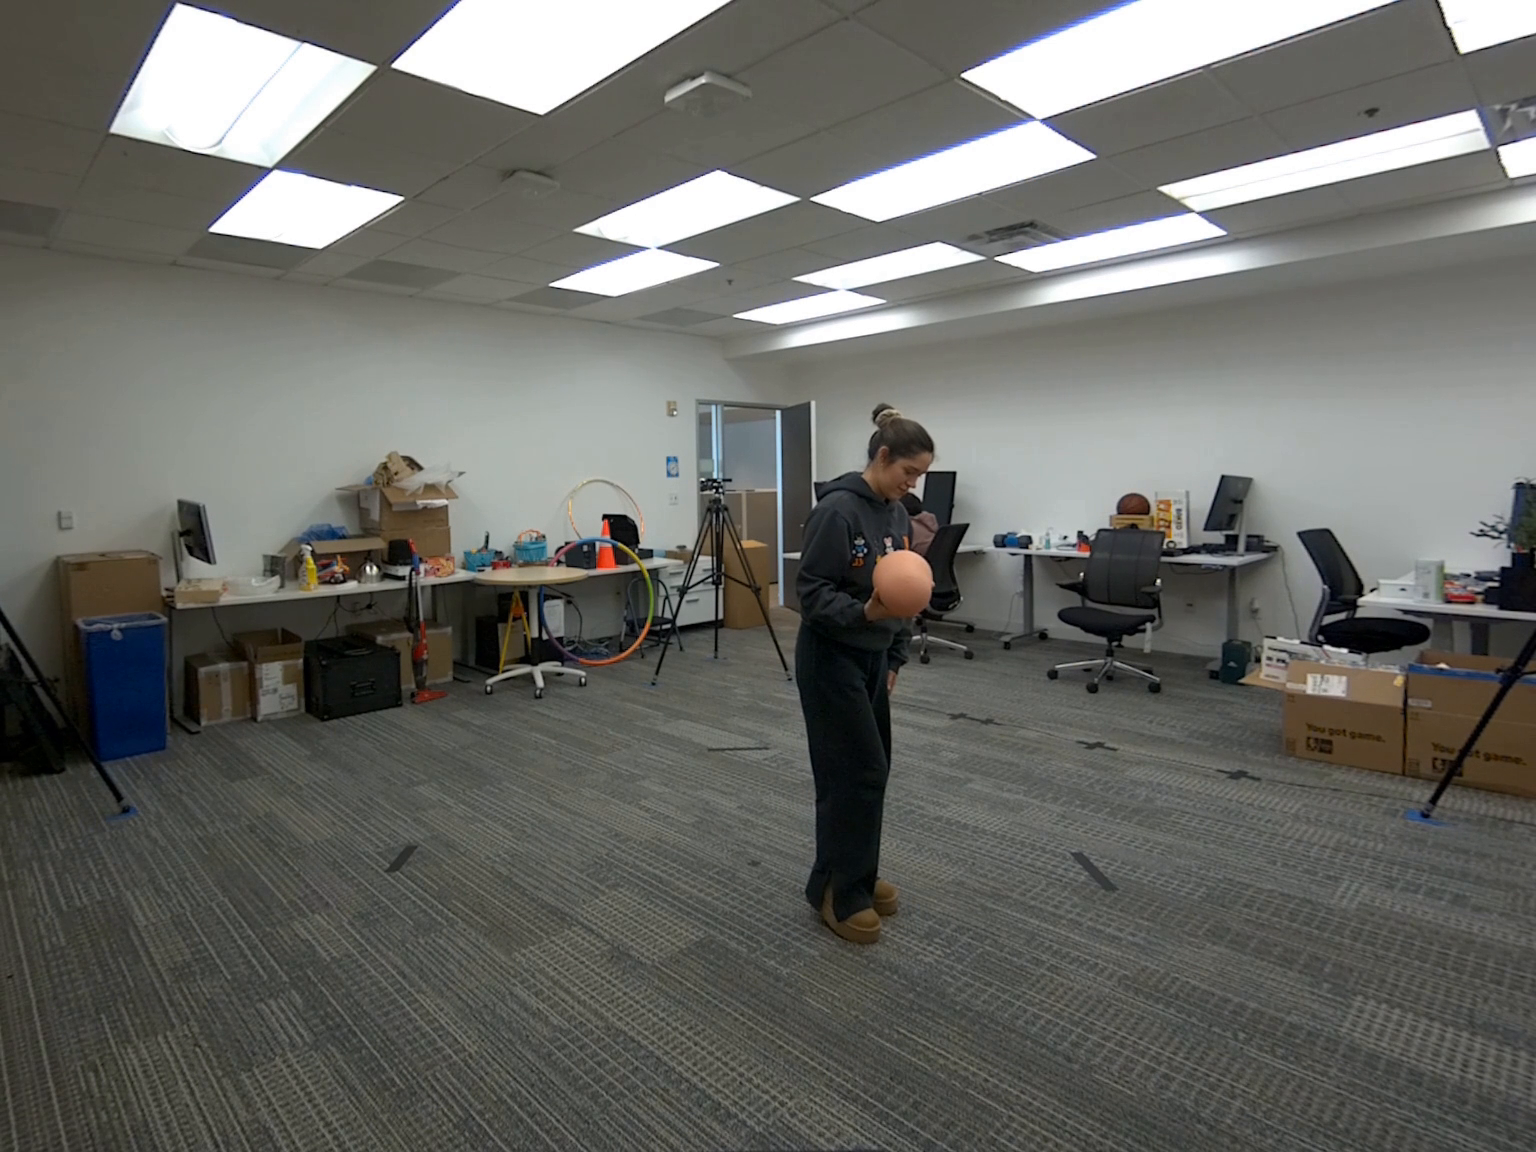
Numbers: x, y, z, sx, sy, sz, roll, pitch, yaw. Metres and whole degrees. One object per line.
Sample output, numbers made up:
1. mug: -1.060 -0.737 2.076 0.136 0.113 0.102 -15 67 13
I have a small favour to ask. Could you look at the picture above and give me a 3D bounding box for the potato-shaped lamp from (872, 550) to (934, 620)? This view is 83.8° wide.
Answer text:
1. potato-shaped lamp: 0.393 0.028 2.403 0.165 0.166 0.203 -40 26 17
